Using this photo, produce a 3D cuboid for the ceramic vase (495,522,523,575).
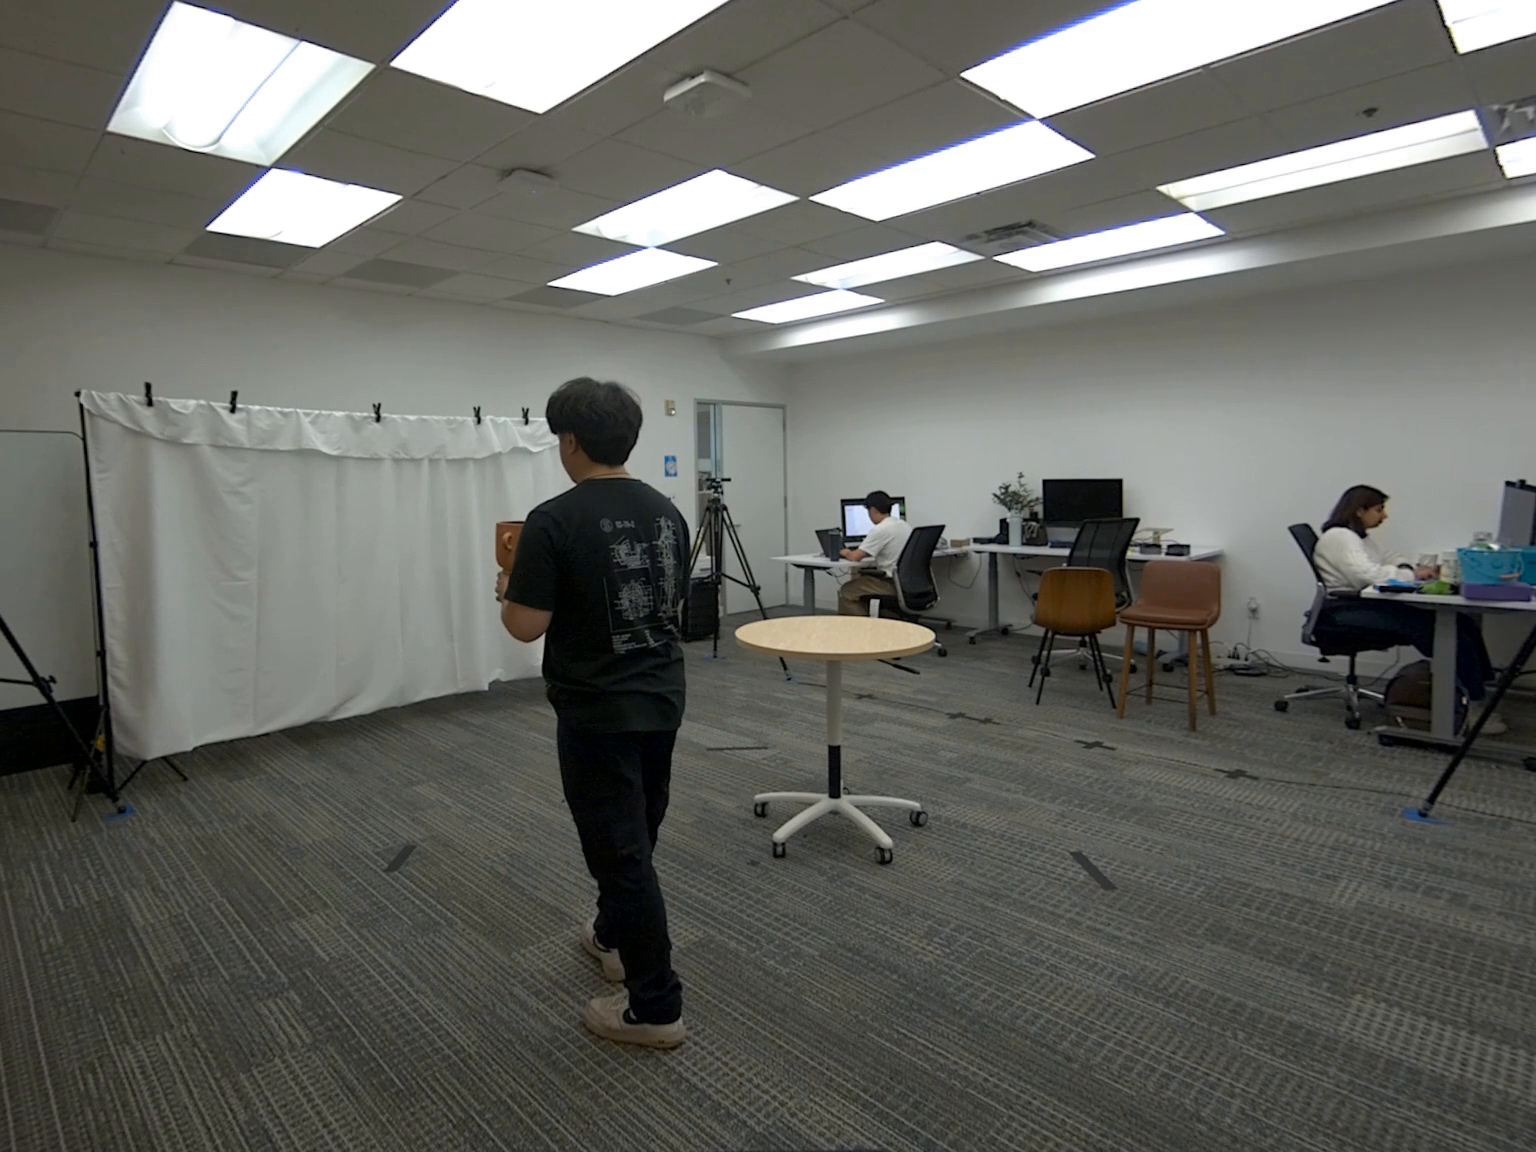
[{"bbox_3d":[-0.696,-0.041,2.391,0.154,0.219,0.139,-3,7,-38],"label":"ceramic vase"}]
